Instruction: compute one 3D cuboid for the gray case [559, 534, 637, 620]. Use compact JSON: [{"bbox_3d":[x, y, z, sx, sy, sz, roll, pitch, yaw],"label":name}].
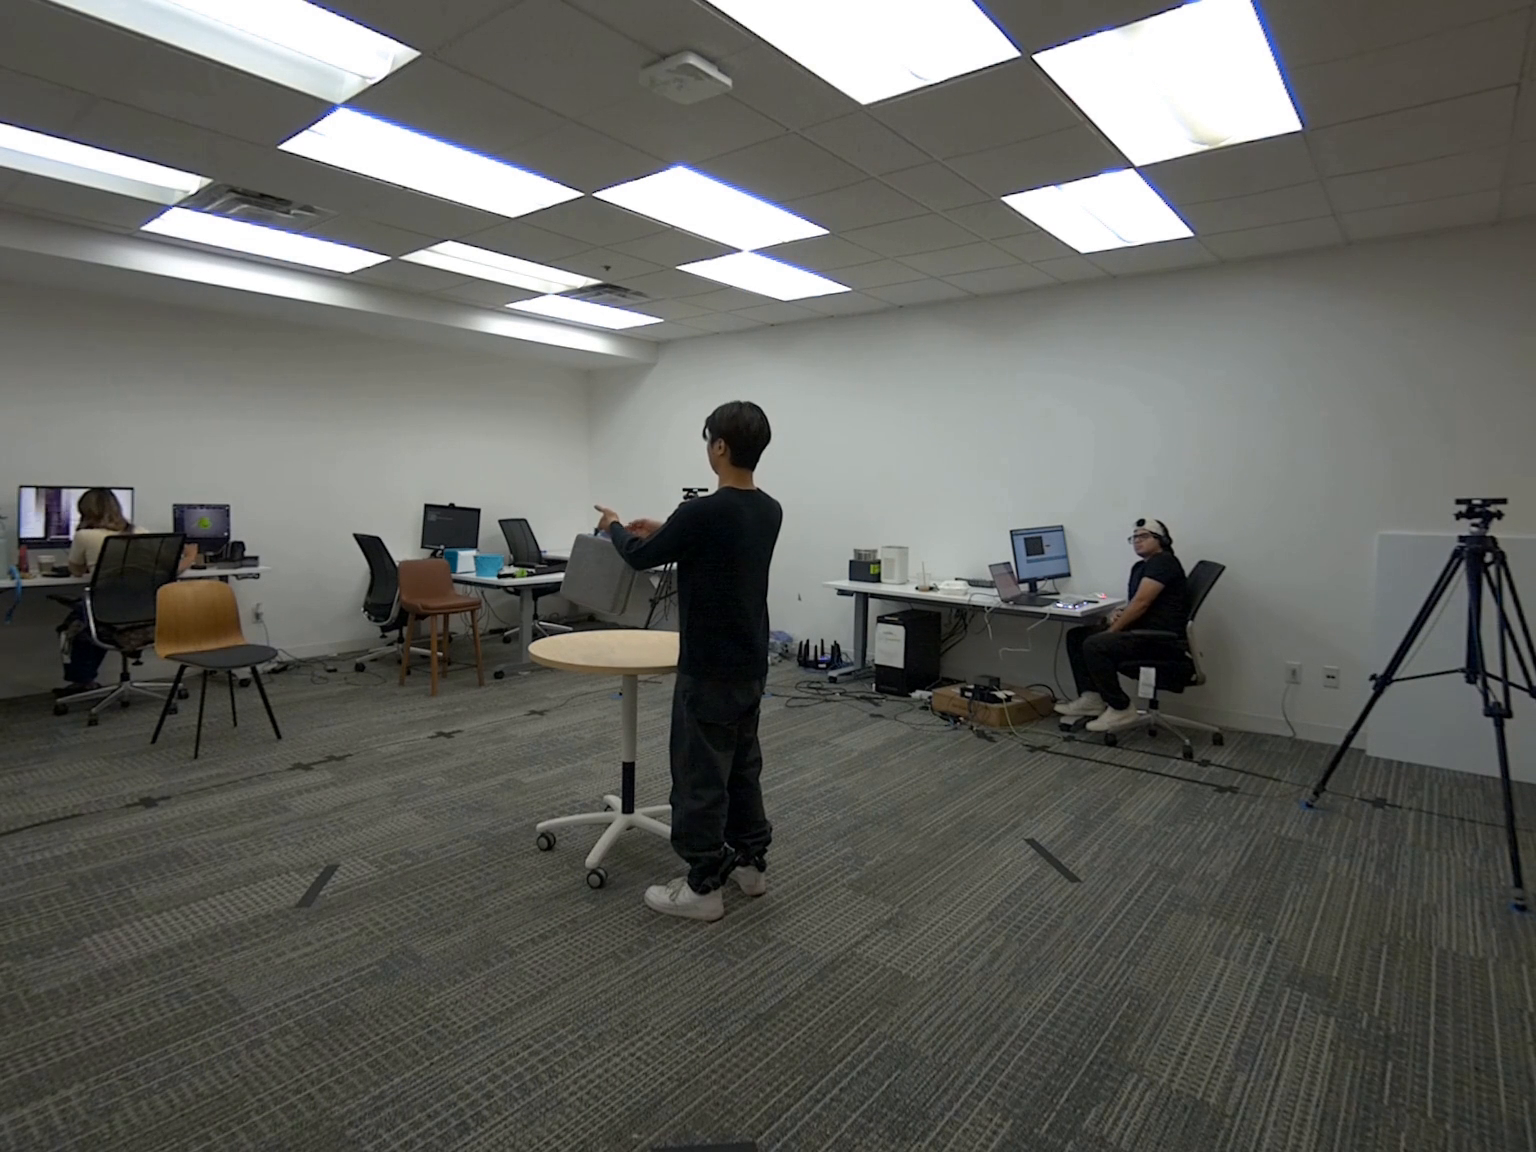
[{"bbox_3d":[-0.610,-0.008,3.075,0.265,0.260,0.101,16,1,25],"label":"gray case"}]
